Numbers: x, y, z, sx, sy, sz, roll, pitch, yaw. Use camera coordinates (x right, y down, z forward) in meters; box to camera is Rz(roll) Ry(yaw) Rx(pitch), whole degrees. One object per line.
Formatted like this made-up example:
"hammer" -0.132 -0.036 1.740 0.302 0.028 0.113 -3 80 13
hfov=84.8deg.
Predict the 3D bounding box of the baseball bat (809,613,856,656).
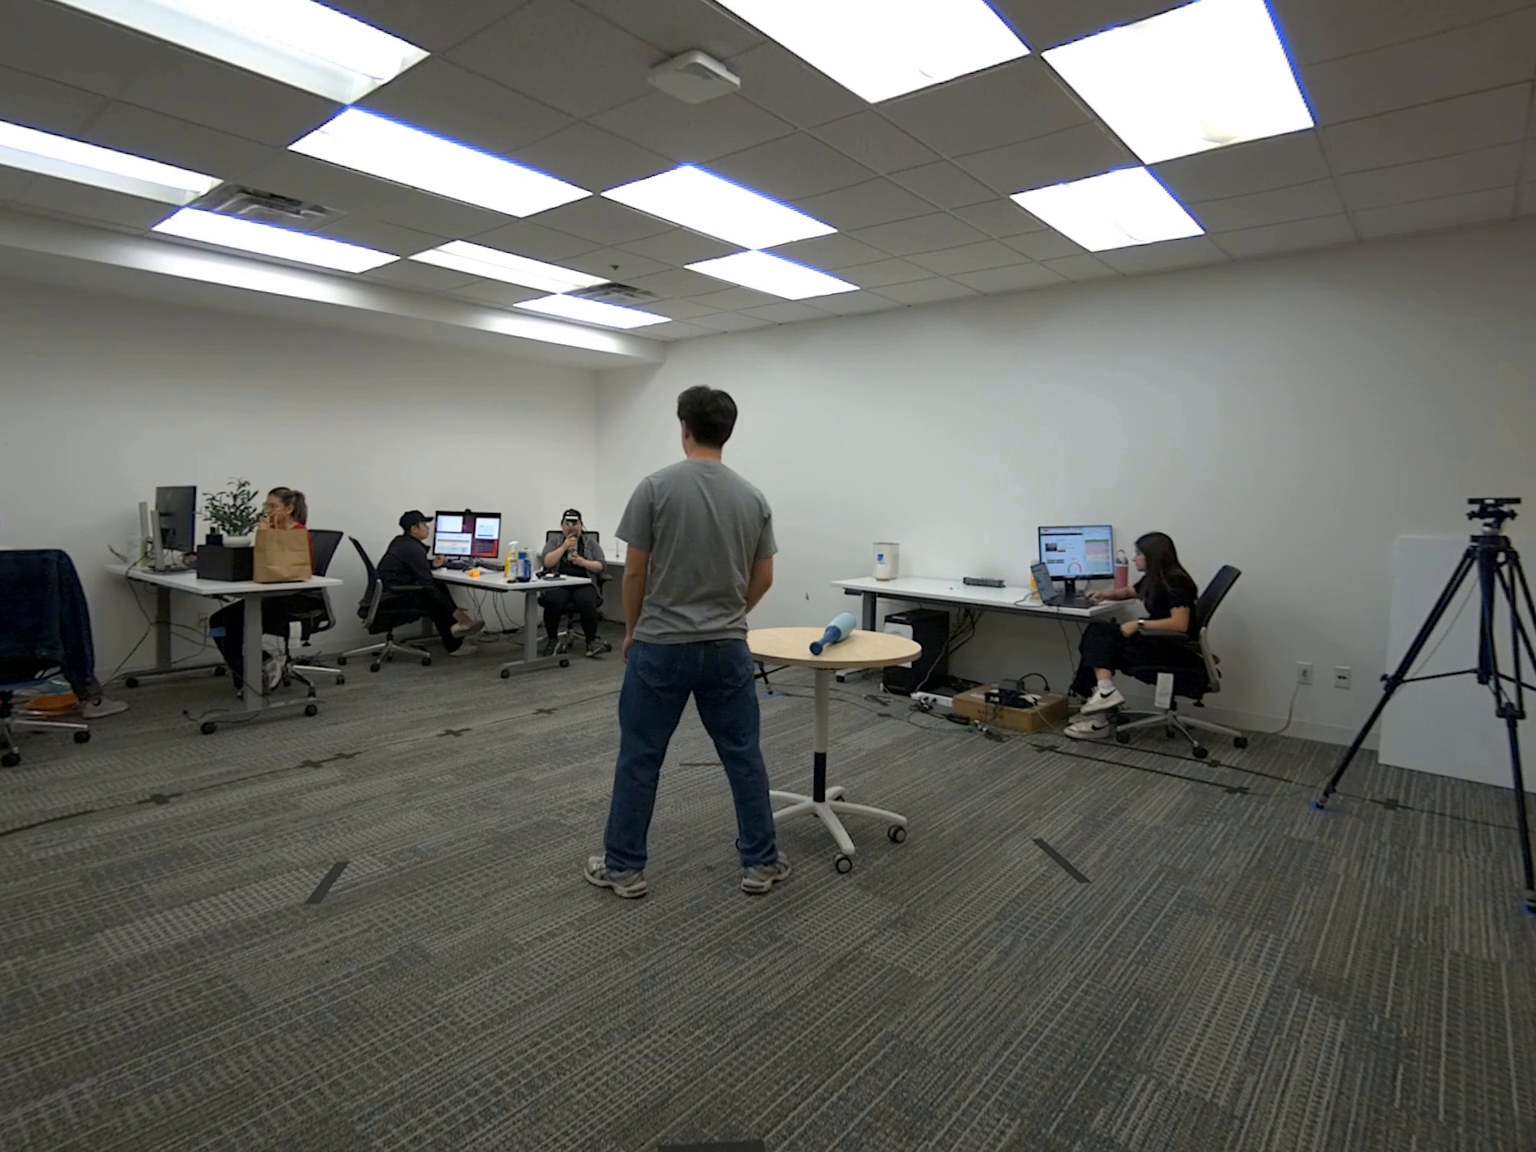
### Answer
"baseball bat" 0.245 0.233 3.366 0.091 0.088 0.536 2 9 17
